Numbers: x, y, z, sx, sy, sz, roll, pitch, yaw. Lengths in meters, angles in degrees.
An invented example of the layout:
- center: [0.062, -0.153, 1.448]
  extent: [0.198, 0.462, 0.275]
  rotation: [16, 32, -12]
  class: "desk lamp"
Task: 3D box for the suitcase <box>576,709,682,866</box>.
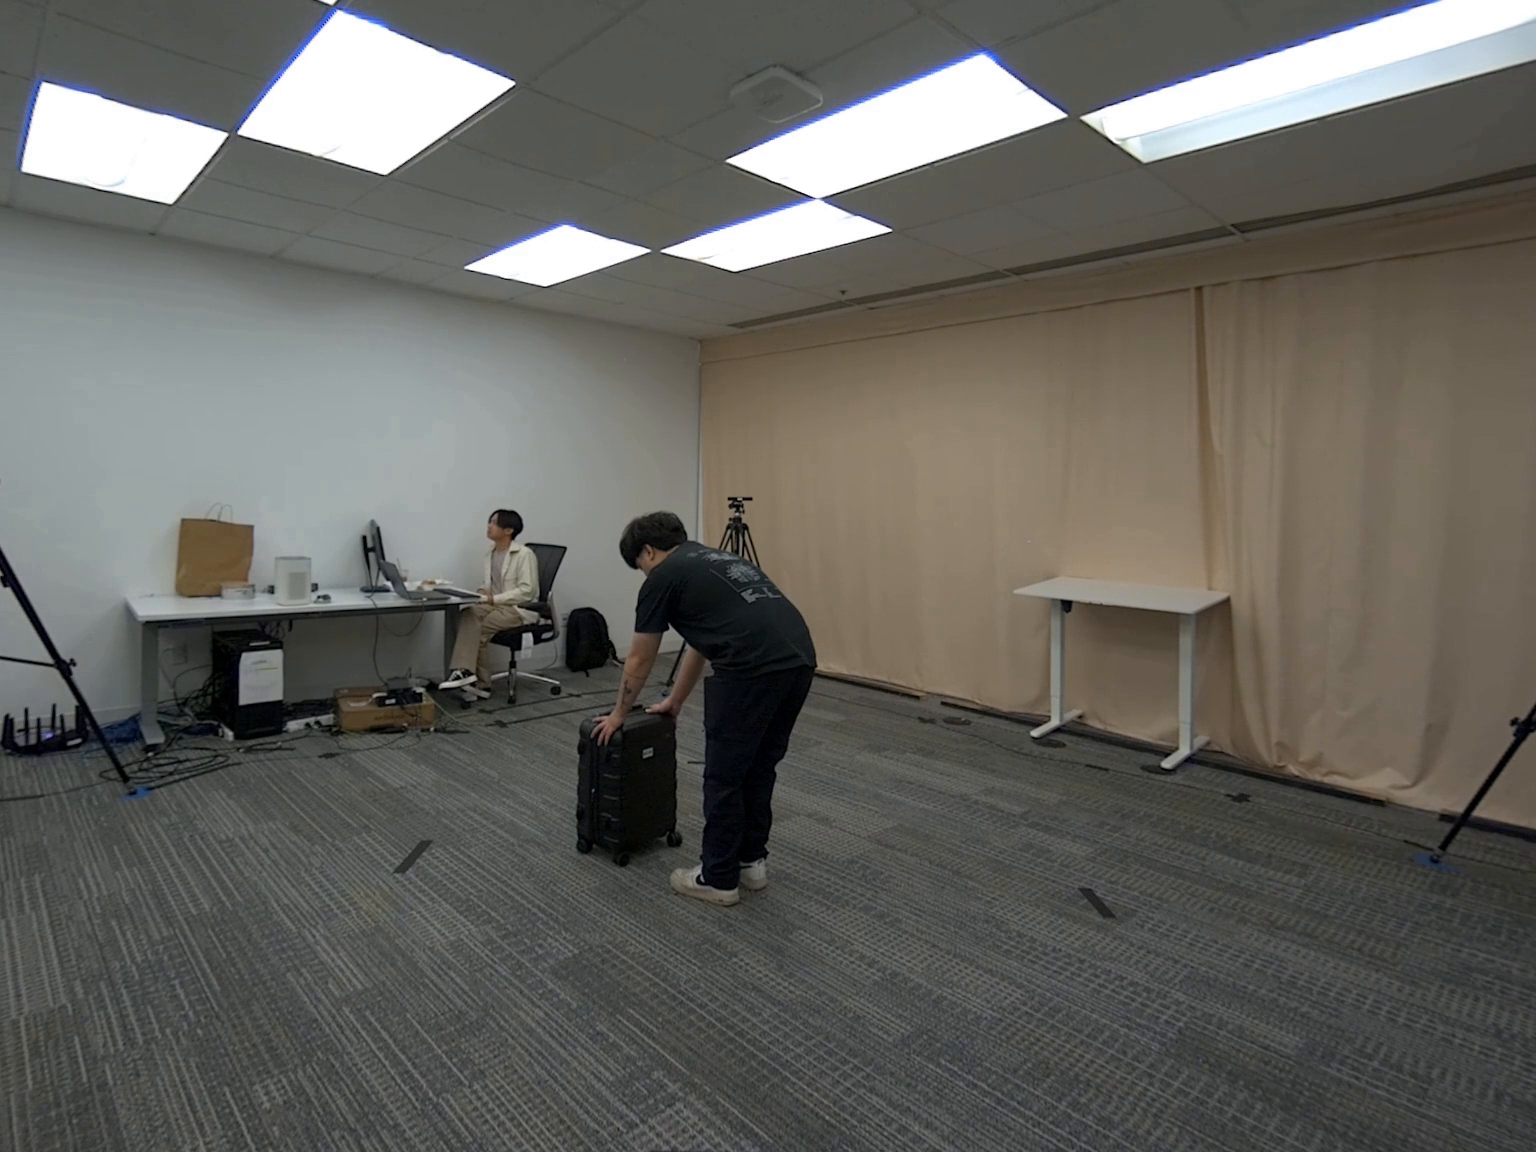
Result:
- center: [-0.562, 0.806, 3.333]
  extent: [0.254, 0.548, 0.367]
  rotation: [3, 3, 38]
  class: "suitcase"
